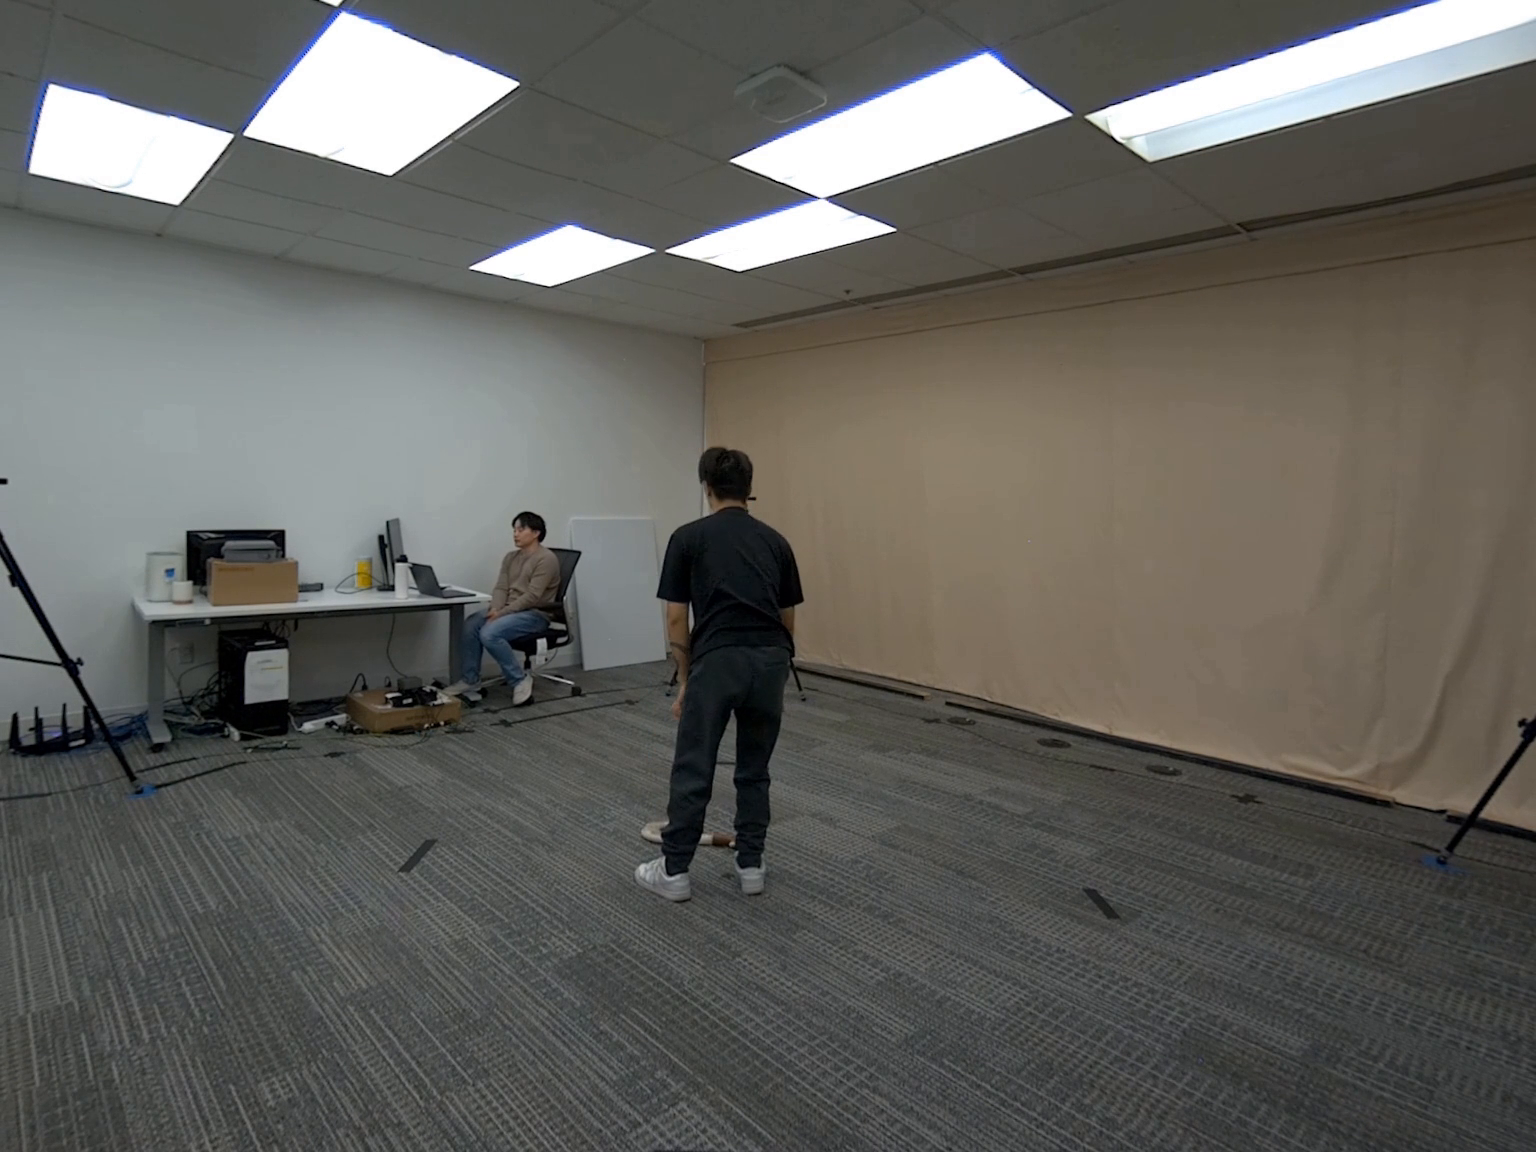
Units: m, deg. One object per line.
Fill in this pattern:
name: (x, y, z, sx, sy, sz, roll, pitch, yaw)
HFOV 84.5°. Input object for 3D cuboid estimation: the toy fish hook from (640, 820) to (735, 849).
toy fish hook: (-0.272, 1.052, 3.436, 0.512, 0.048, 0.223, 3, 7, 12)
